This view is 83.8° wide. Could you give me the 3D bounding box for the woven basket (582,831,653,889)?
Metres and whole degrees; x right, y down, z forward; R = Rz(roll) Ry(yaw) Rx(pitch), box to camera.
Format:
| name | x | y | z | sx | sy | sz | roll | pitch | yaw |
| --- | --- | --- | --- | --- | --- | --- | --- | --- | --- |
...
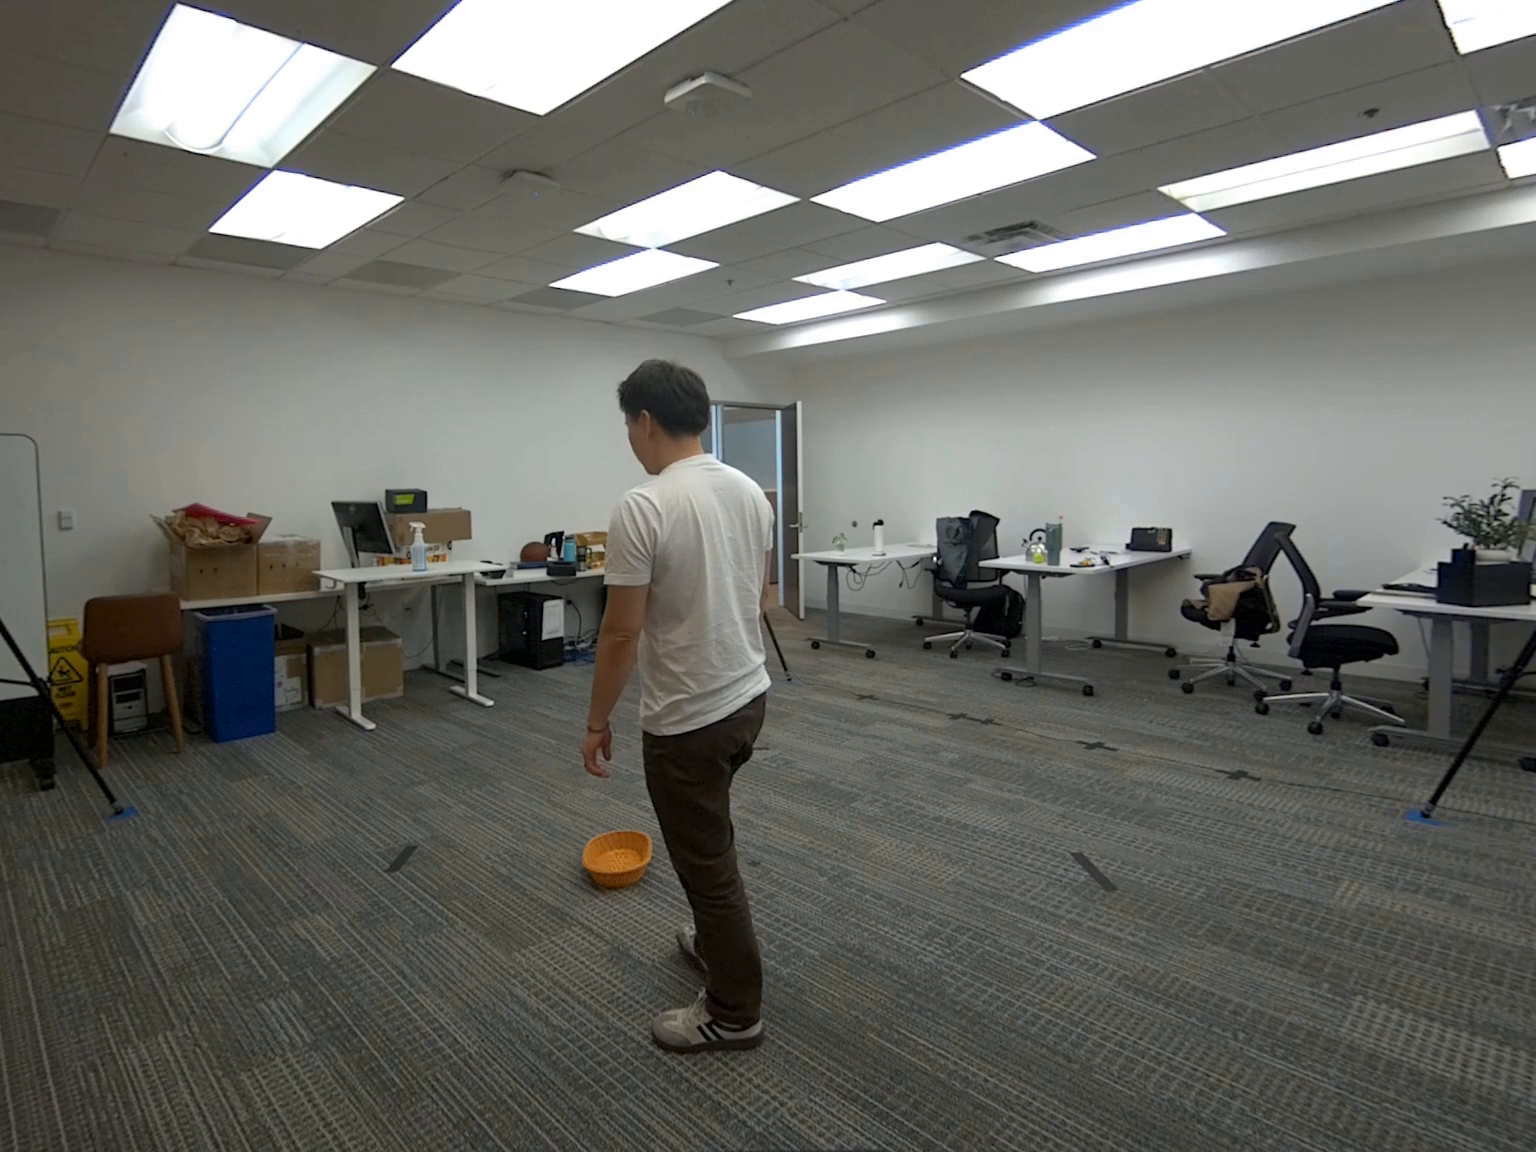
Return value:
| name | x | y | z | sx | sy | sz | roll | pitch | yaw |
| --- | --- | --- | --- | --- | --- | --- | --- | --- | --- |
| woven basket | -0.542 | 1.018 | 3.073 | 0.252 | 0.073 | 0.353 | -2 | 7 | -4 |
